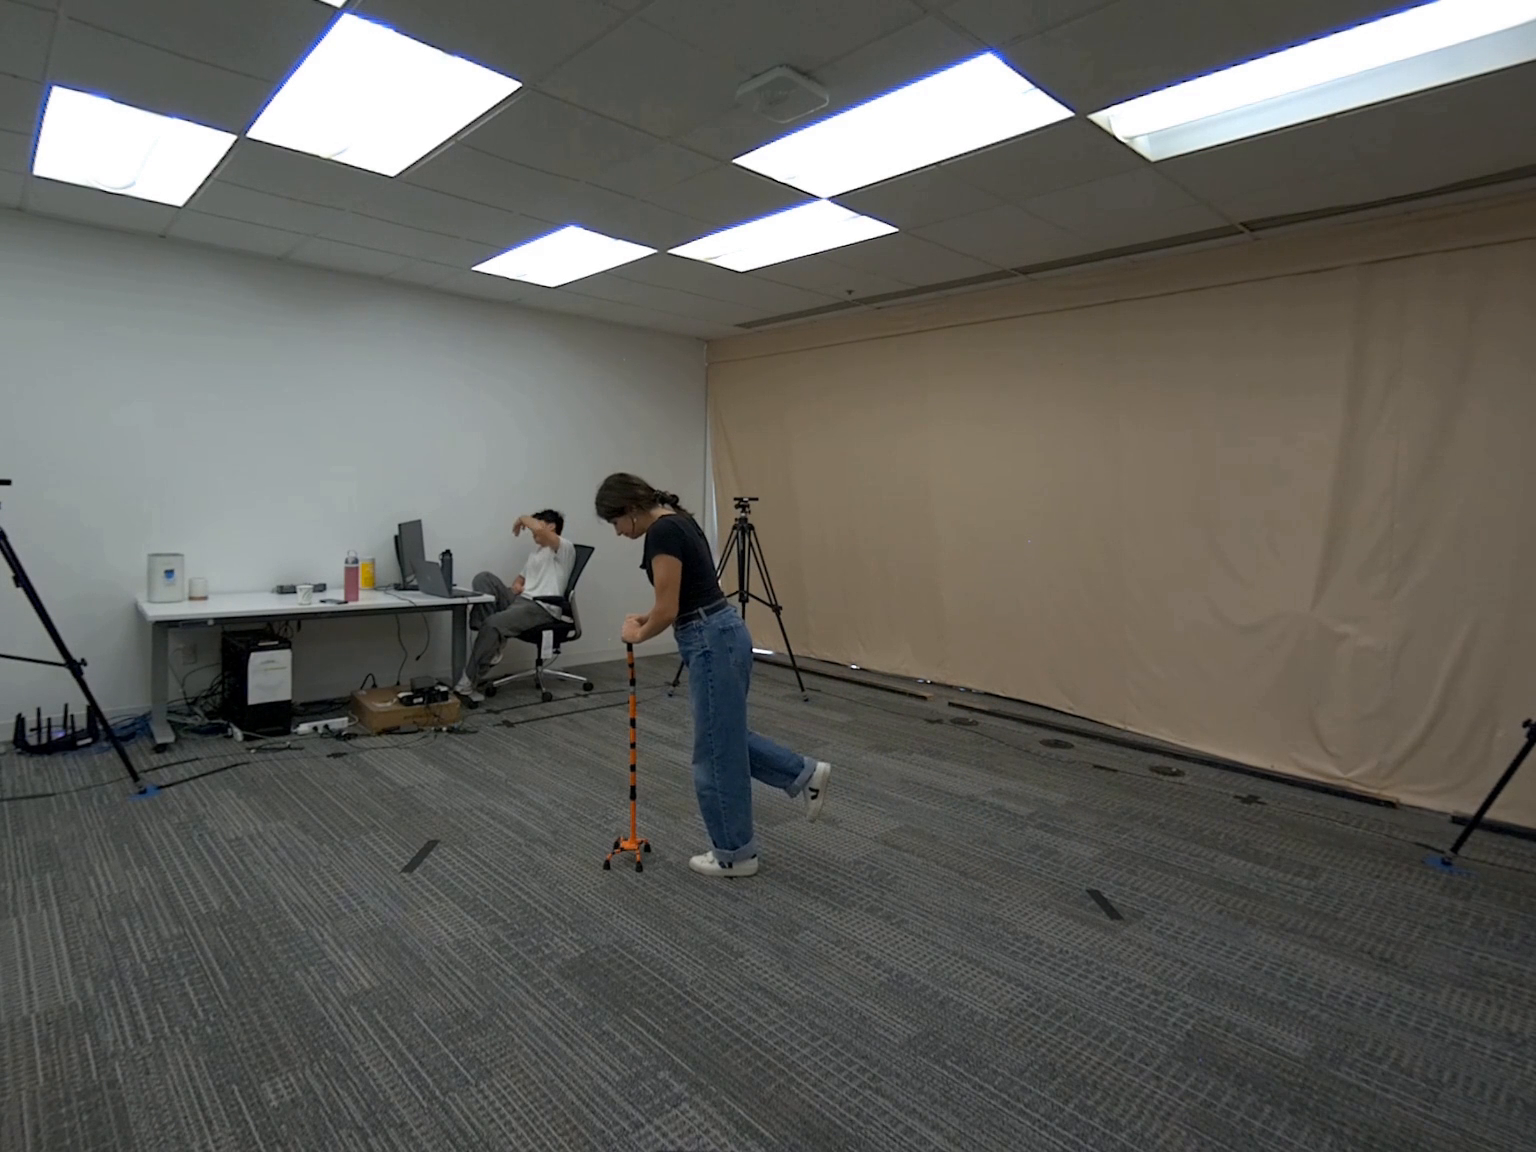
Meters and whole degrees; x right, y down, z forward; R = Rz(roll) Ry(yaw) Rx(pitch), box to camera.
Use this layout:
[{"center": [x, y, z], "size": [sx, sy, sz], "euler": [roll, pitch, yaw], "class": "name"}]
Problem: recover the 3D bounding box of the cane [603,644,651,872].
[{"center": [-0.534, 0.631, 3.201], "size": [0.152, 0.906, 0.206], "euler": [0, 3, 2], "class": "cane"}]
